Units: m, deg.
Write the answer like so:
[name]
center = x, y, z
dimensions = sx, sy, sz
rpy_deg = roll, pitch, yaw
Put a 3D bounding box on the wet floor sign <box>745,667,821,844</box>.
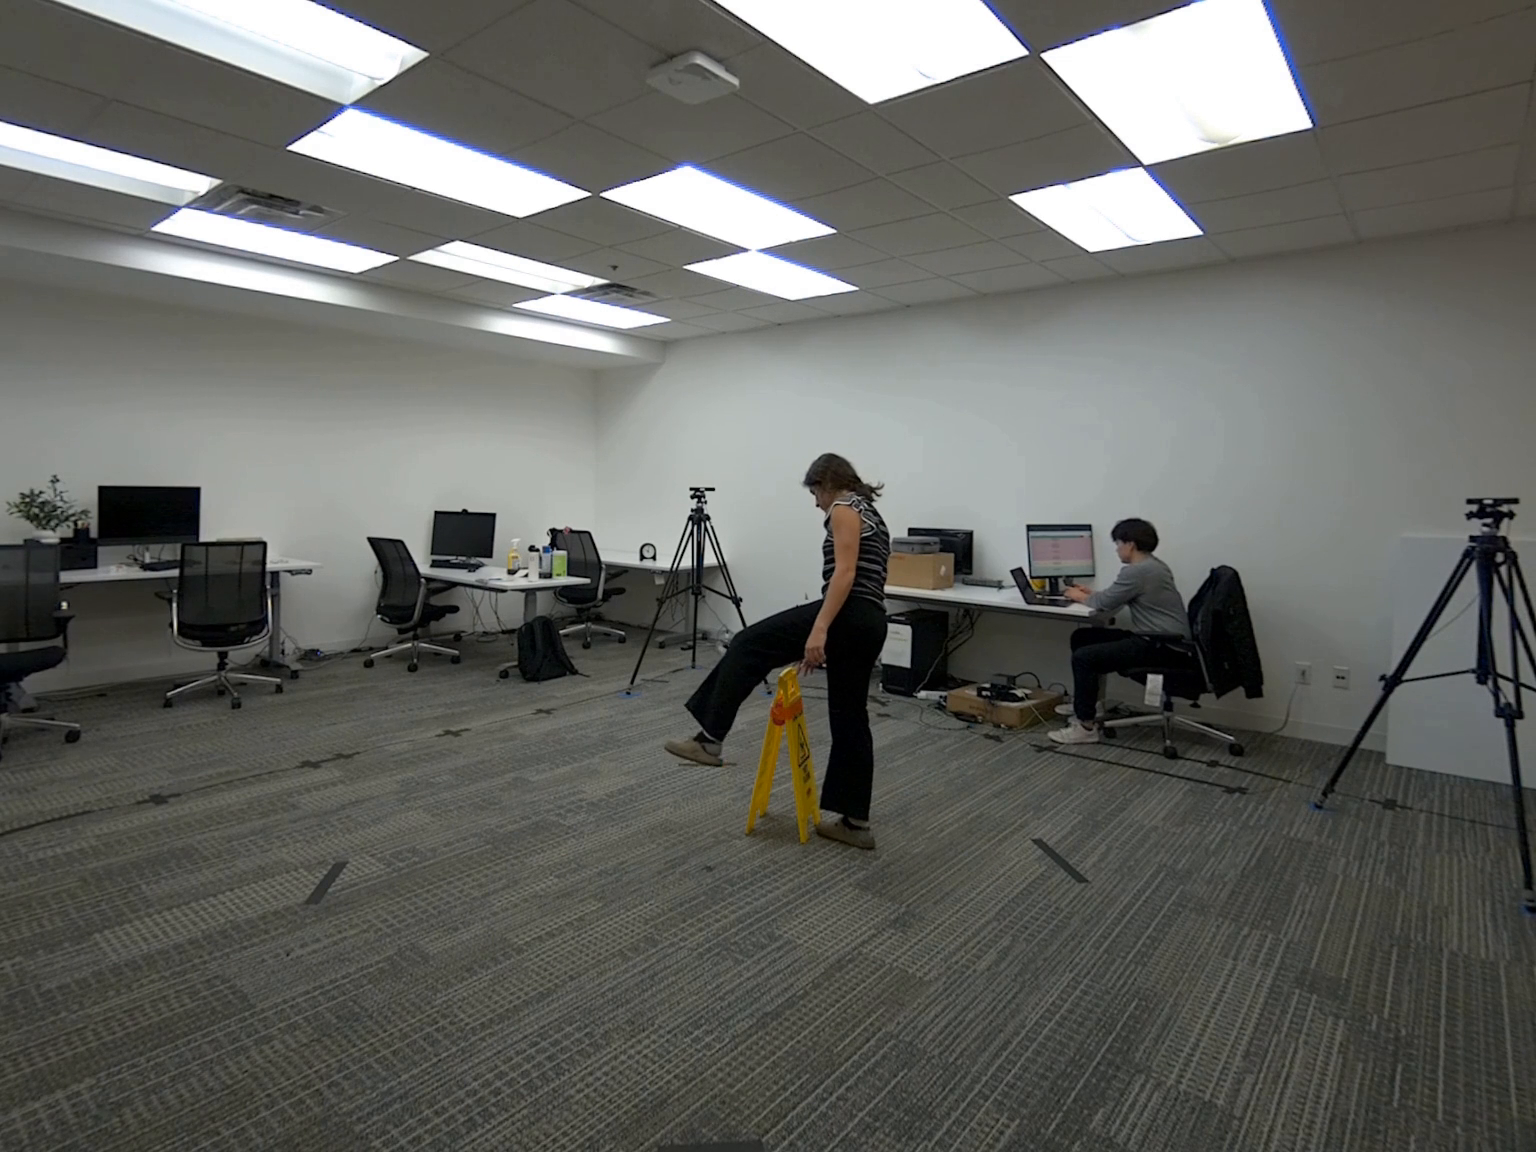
[wet floor sign]
center = 0.067, 0.710, 3.498
dimensions = 0.295, 0.644, 0.278
rpy_deg = 3, 4, 17
